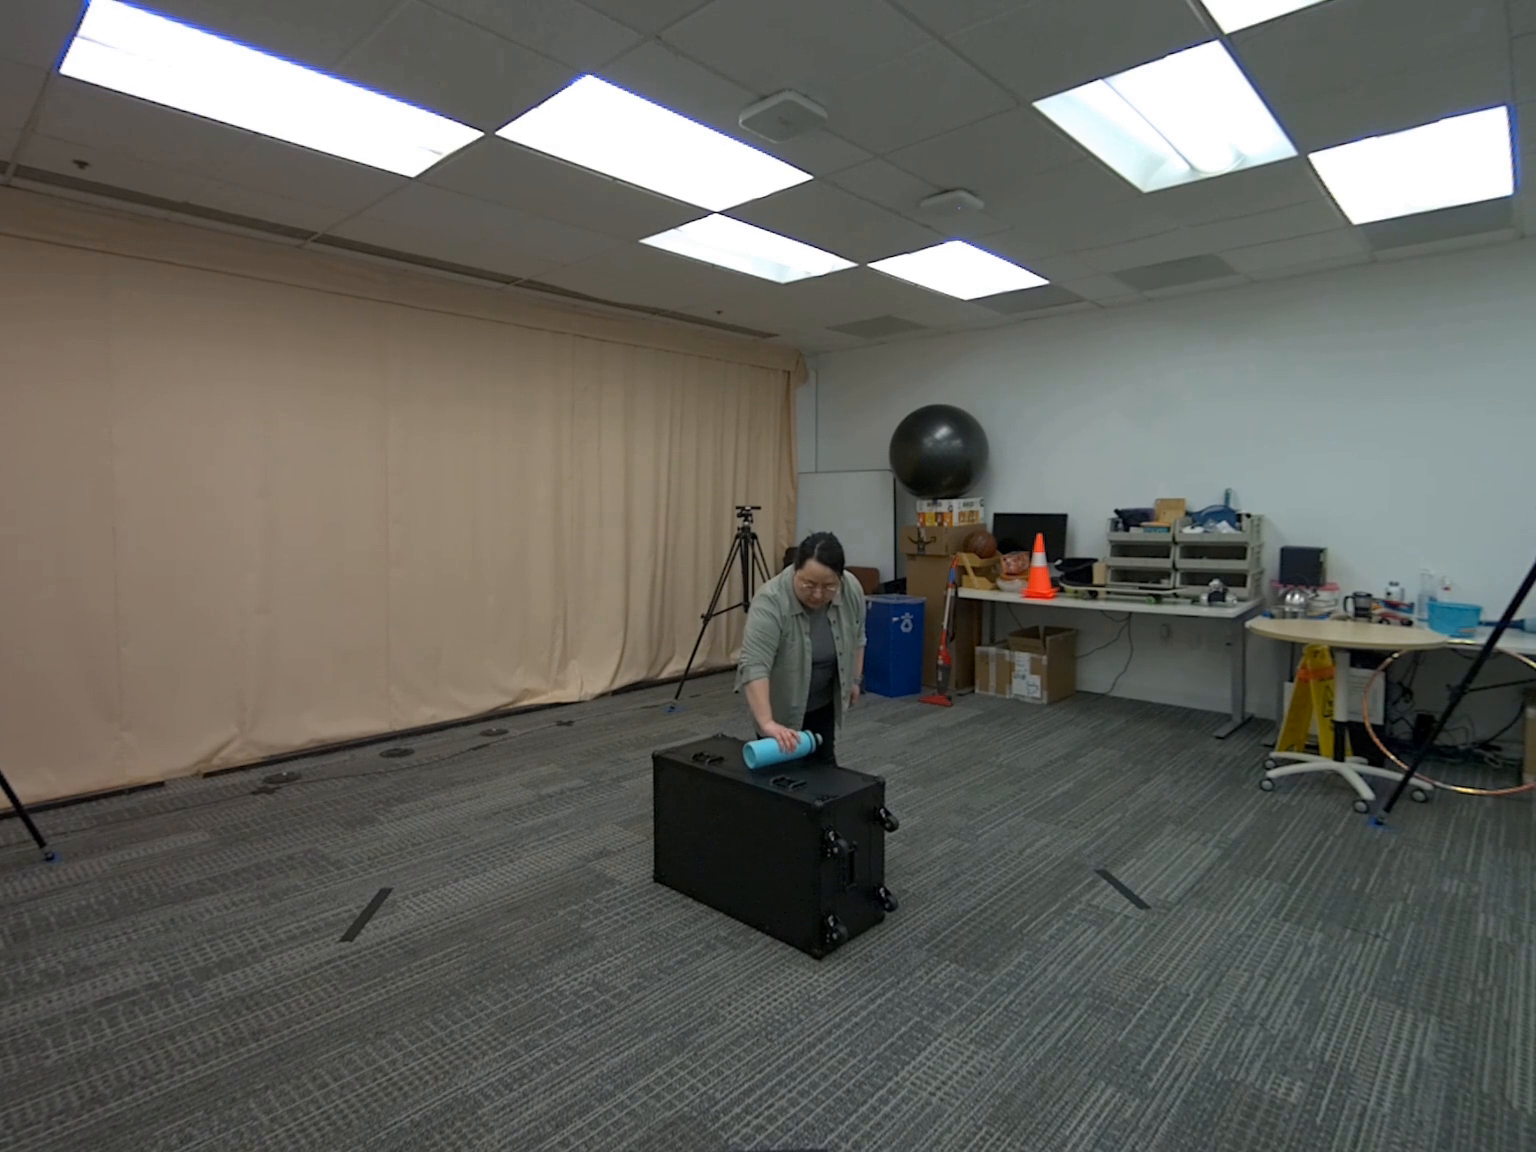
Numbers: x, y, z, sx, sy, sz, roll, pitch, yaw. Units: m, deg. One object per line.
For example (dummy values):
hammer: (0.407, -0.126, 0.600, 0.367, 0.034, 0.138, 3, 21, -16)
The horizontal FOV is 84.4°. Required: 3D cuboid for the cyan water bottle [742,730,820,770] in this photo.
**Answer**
cyan water bottle: (0.050, 0.592, 2.941, 0.276, 0.092, 0.095, -8, 7, -29)
